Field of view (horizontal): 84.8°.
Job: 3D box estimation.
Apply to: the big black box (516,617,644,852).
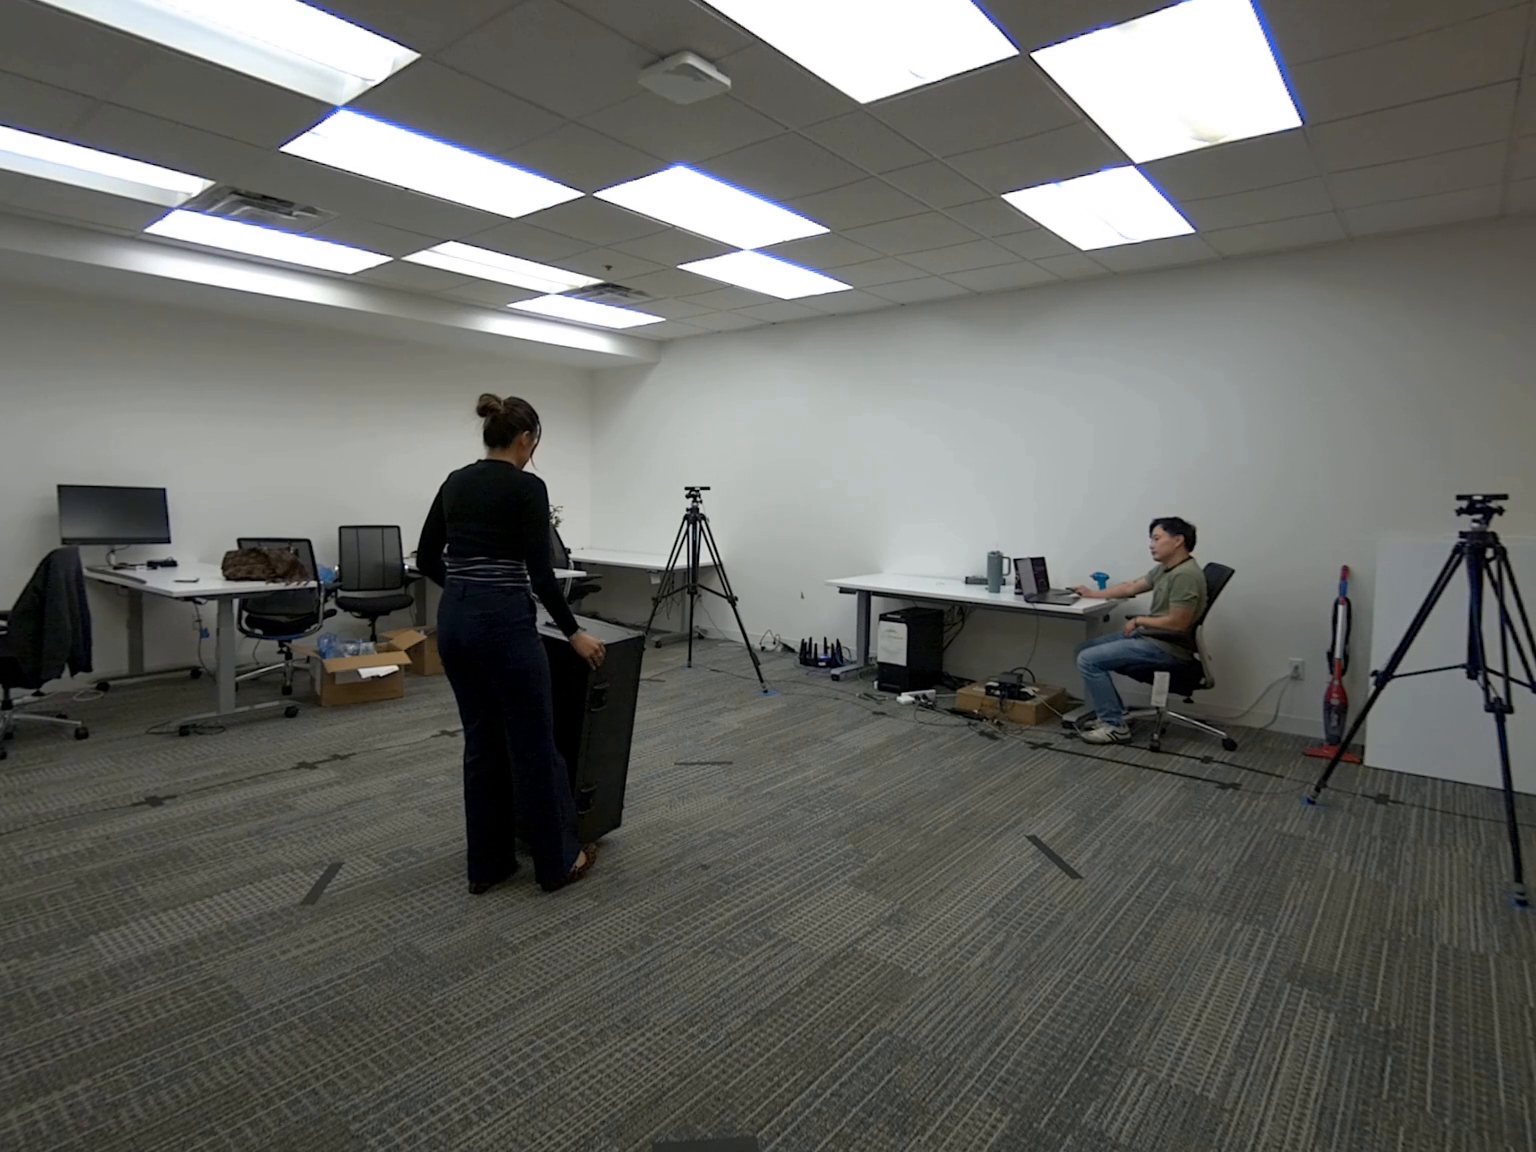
[{"bbox_3d":[-0.827,0.600,3.276,0.537,0.858,0.386,12,6,26],"label":"big black box"}]
